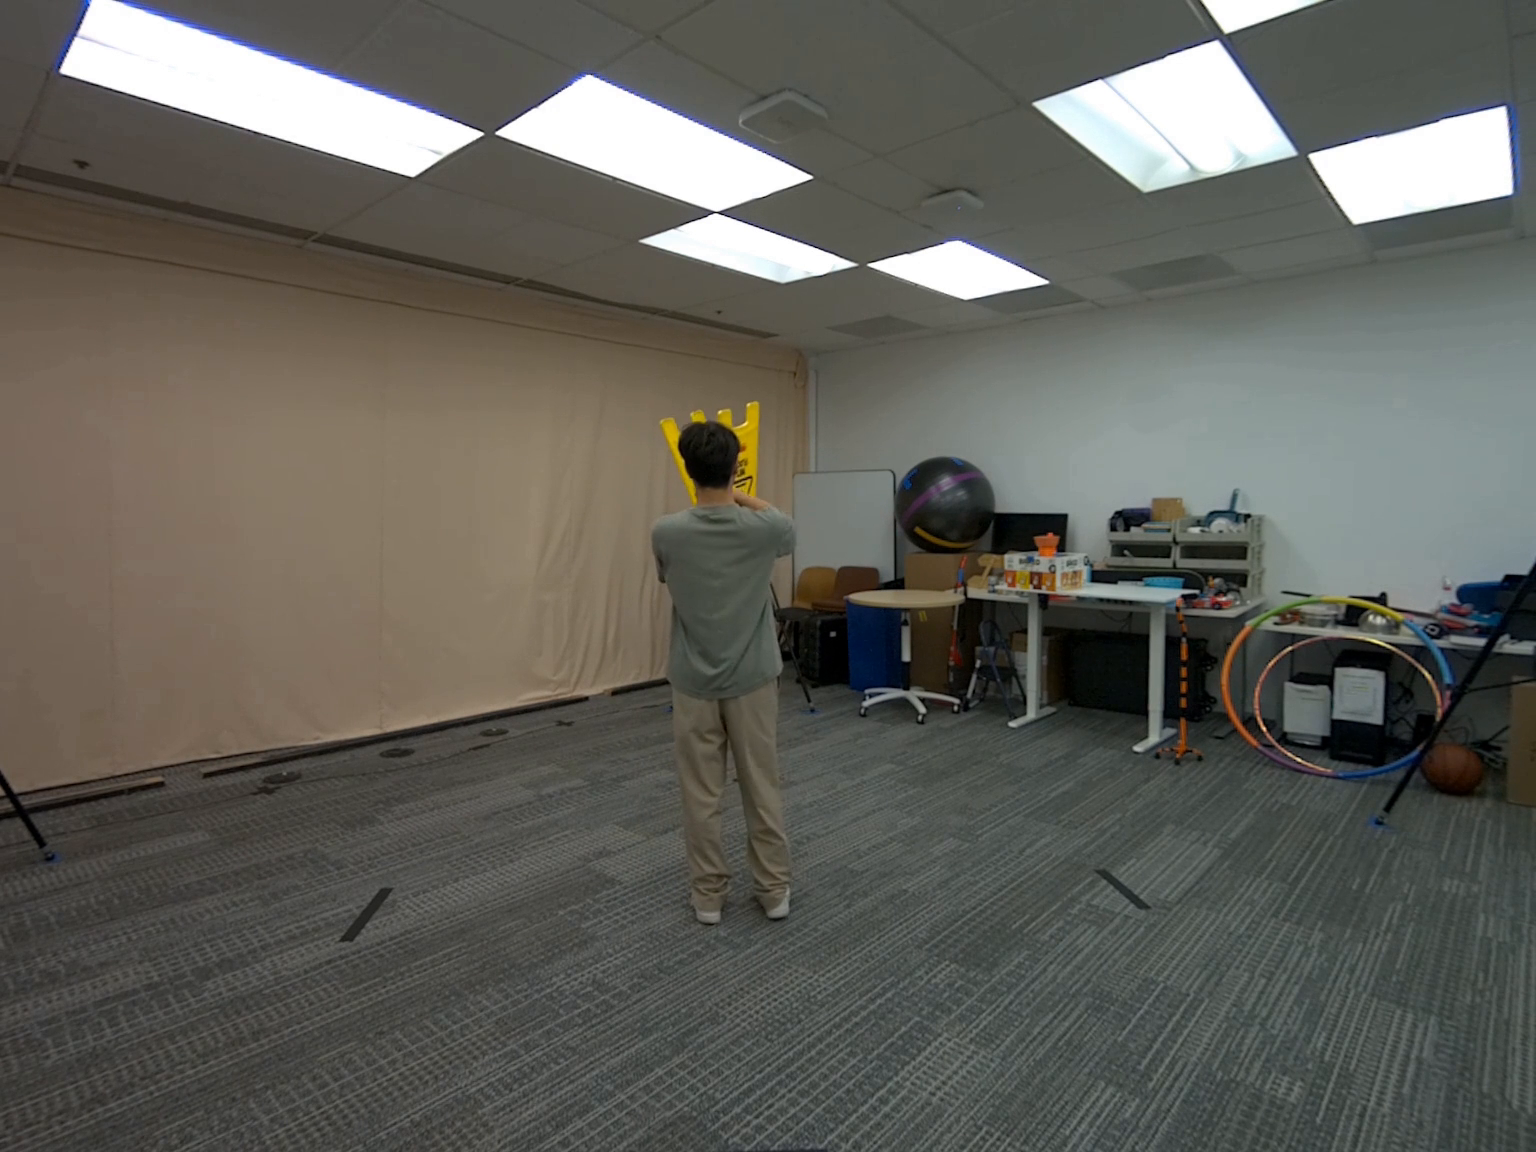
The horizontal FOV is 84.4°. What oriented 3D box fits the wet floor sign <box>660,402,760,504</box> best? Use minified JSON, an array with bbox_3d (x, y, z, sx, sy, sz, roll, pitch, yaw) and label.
[{"bbox_3d":[-0.165,-0.329,3.322,0.298,0.639,0.277,-2,15,35],"label":"wet floor sign"}]
